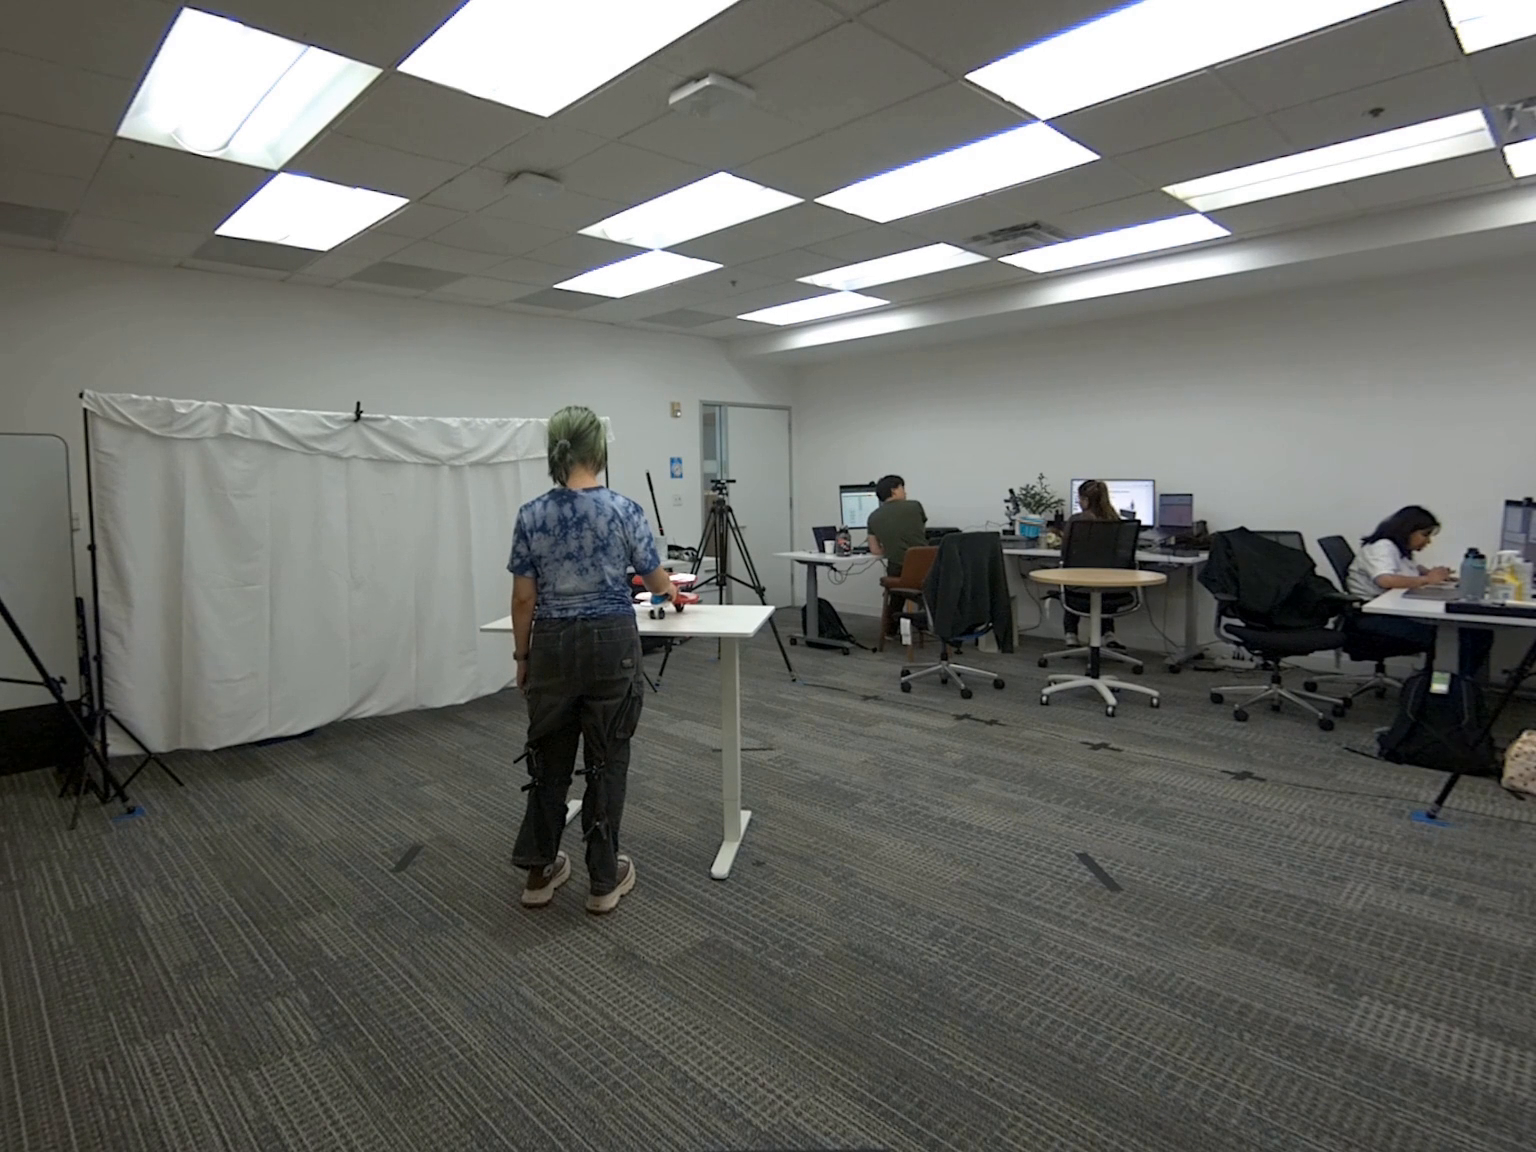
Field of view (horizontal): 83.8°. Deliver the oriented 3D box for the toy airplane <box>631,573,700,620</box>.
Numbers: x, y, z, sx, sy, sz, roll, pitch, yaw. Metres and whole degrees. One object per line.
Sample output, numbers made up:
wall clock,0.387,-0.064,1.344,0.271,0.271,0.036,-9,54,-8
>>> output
toy airplane,-0.390,0.074,3.293,0.247,0.156,0.264,-3,5,-19
